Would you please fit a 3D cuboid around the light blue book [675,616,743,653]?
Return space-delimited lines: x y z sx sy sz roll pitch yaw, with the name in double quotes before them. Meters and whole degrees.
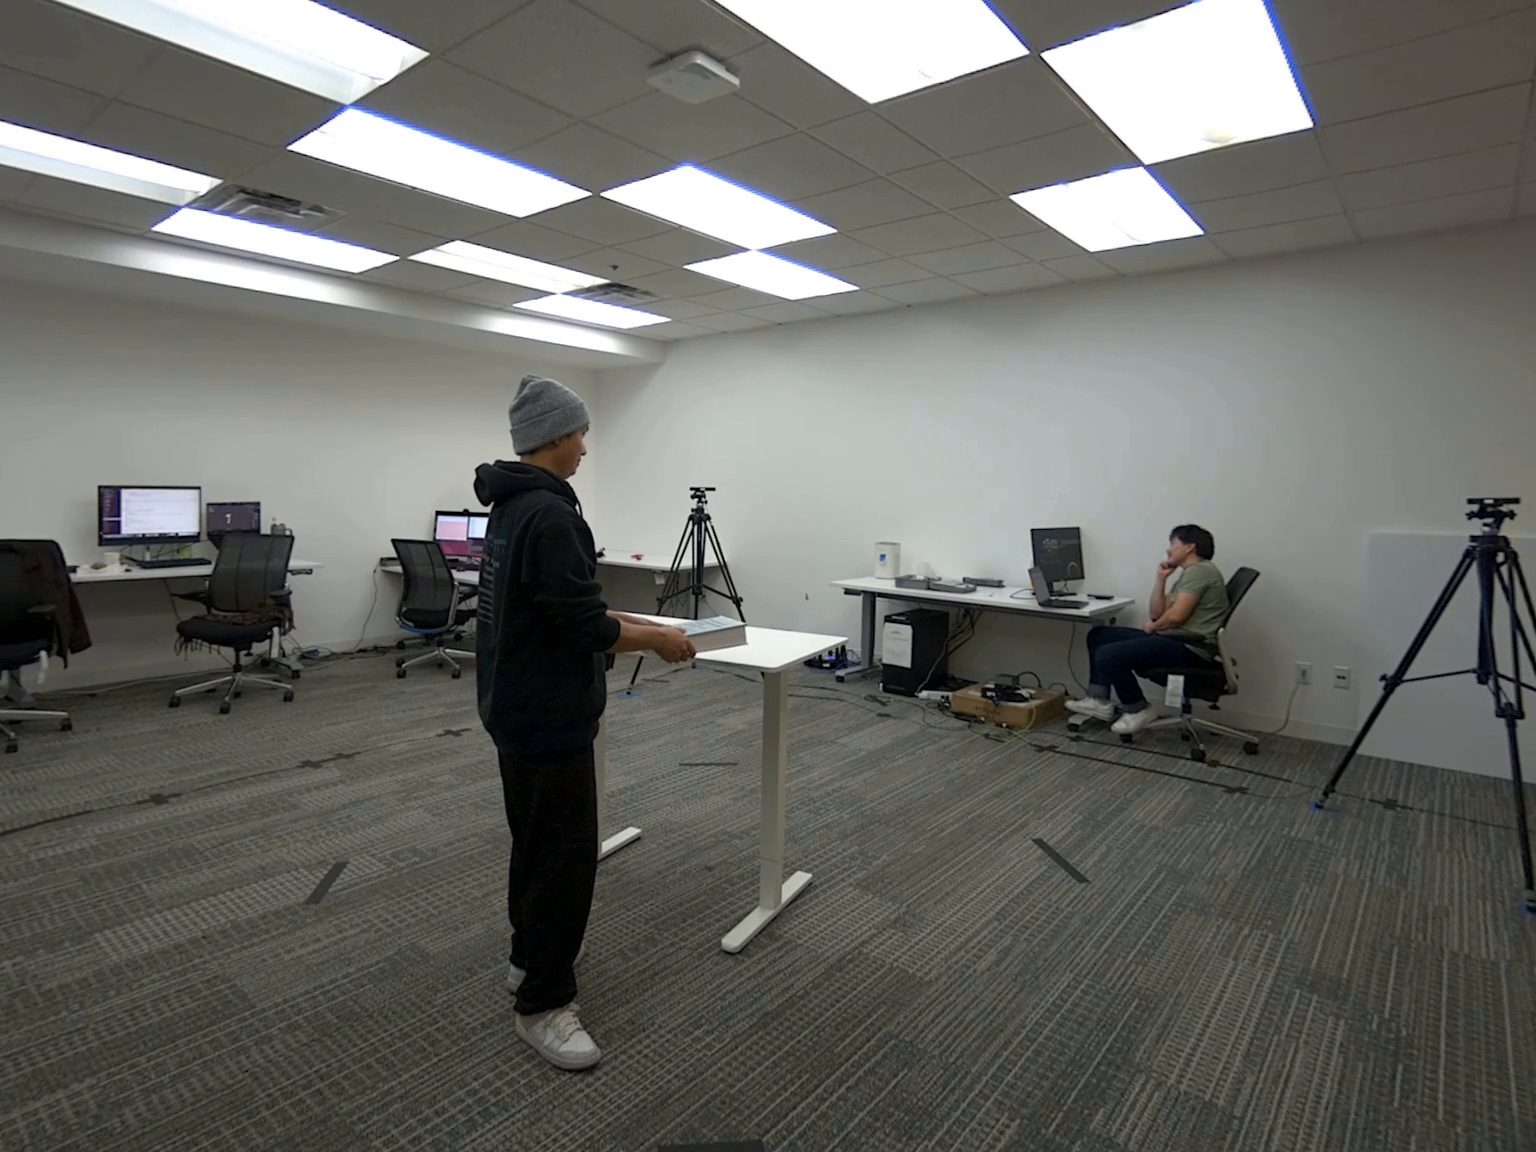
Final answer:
"light blue book" -0.244 0.180 2.367 0.258 0.059 0.194 -6 7 -11
